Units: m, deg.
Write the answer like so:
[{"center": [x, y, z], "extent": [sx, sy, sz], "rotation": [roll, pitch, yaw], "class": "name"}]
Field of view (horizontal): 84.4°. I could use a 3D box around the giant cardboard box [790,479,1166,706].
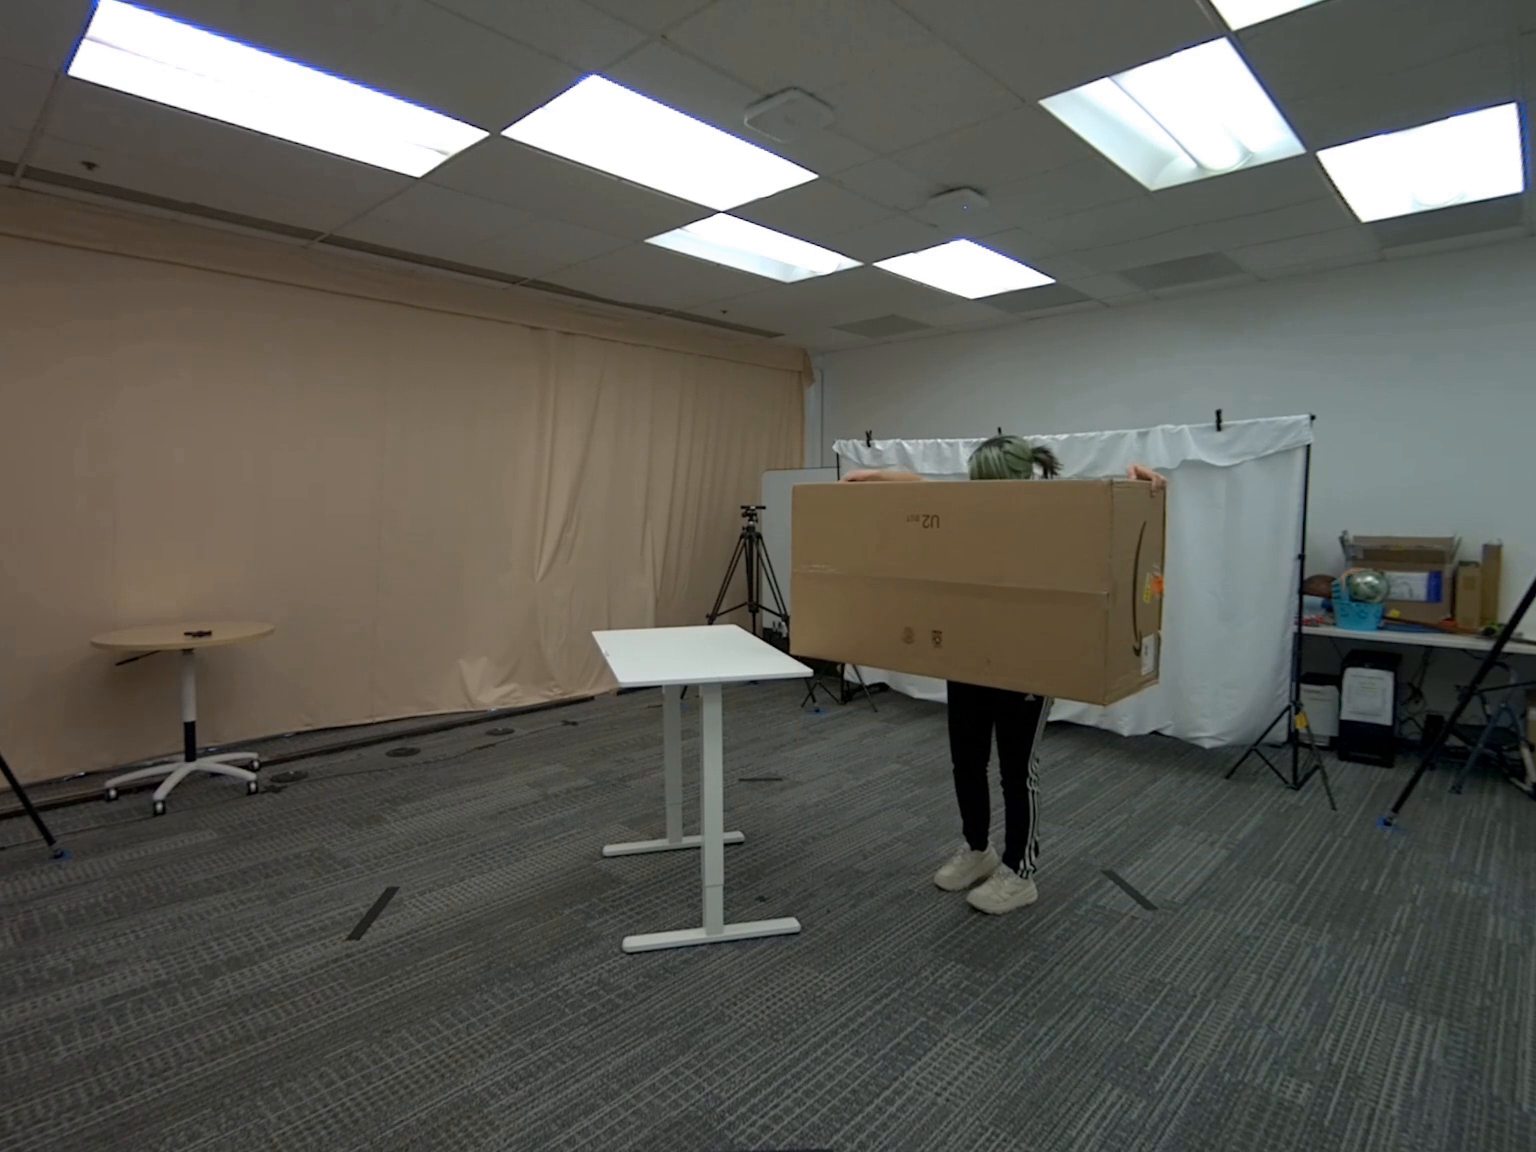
[{"center": [0.605, 0.004, 2.596], "extent": [1.062, 0.583, 0.433], "rotation": [5, 5, 42], "class": "giant cardboard box"}]
